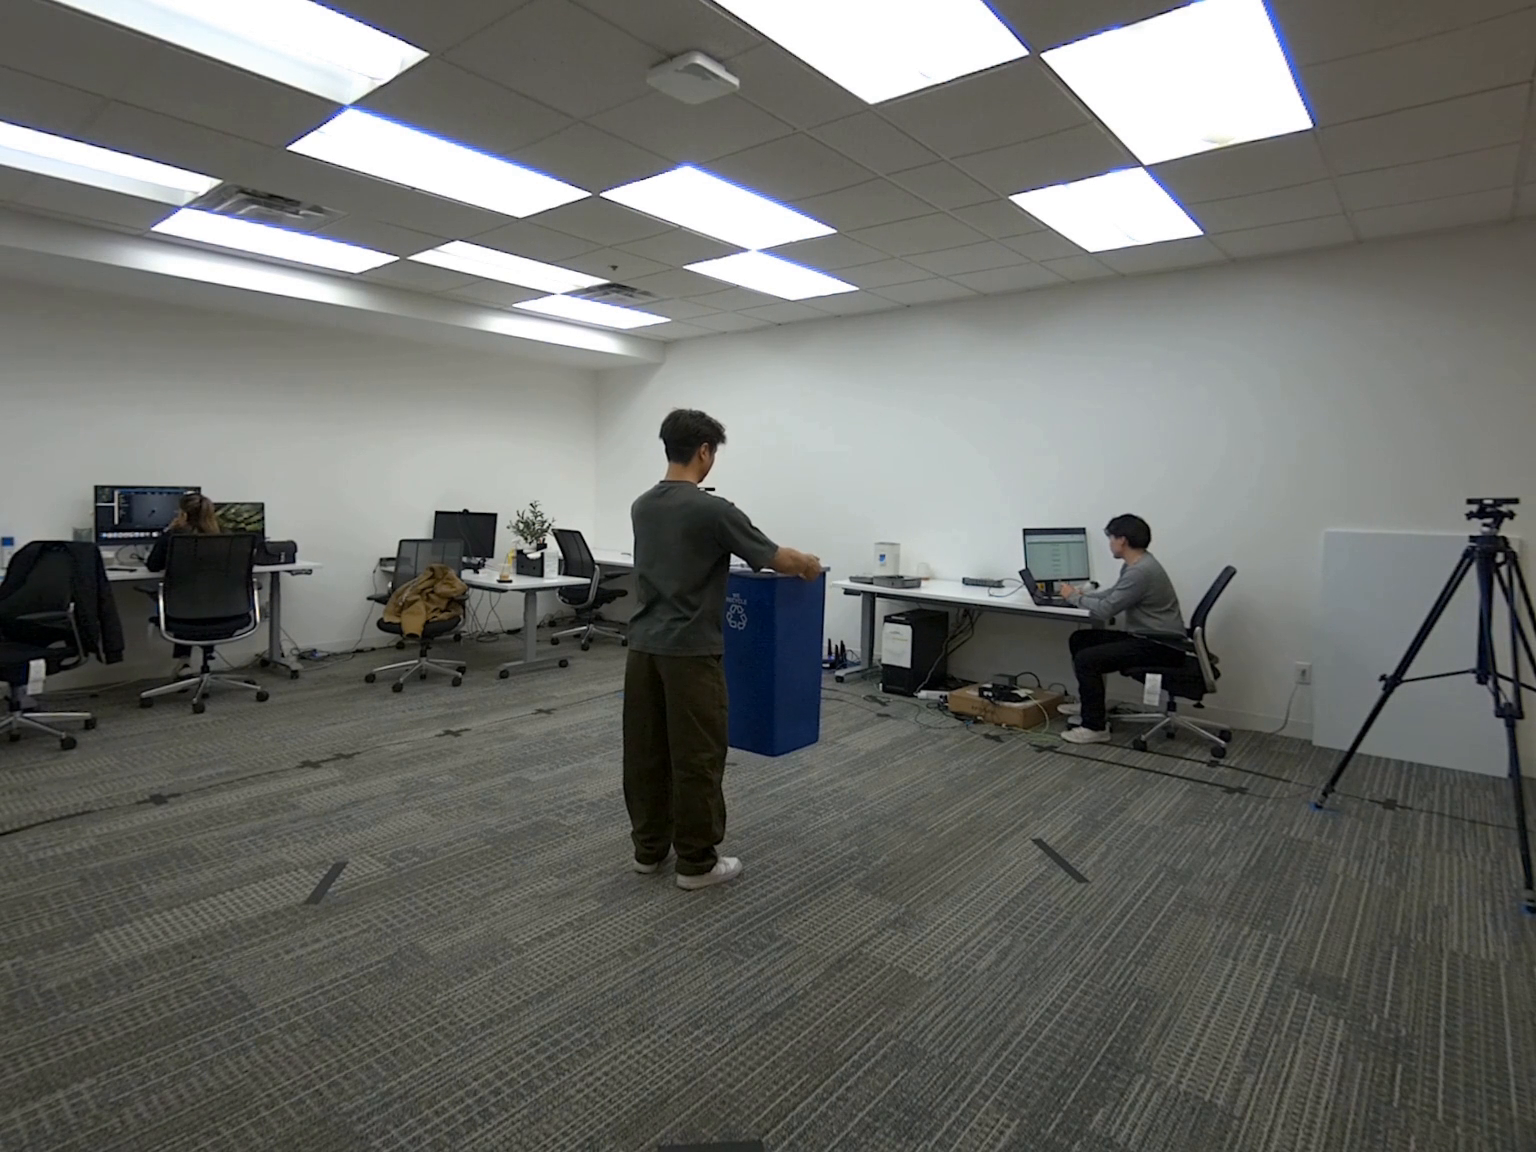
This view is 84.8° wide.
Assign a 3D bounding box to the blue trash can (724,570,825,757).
[{"bbox_3d":[-0.009,0.314,3.409,0.390,0.711,0.363,2,4,39],"label":"blue trash can"}]
